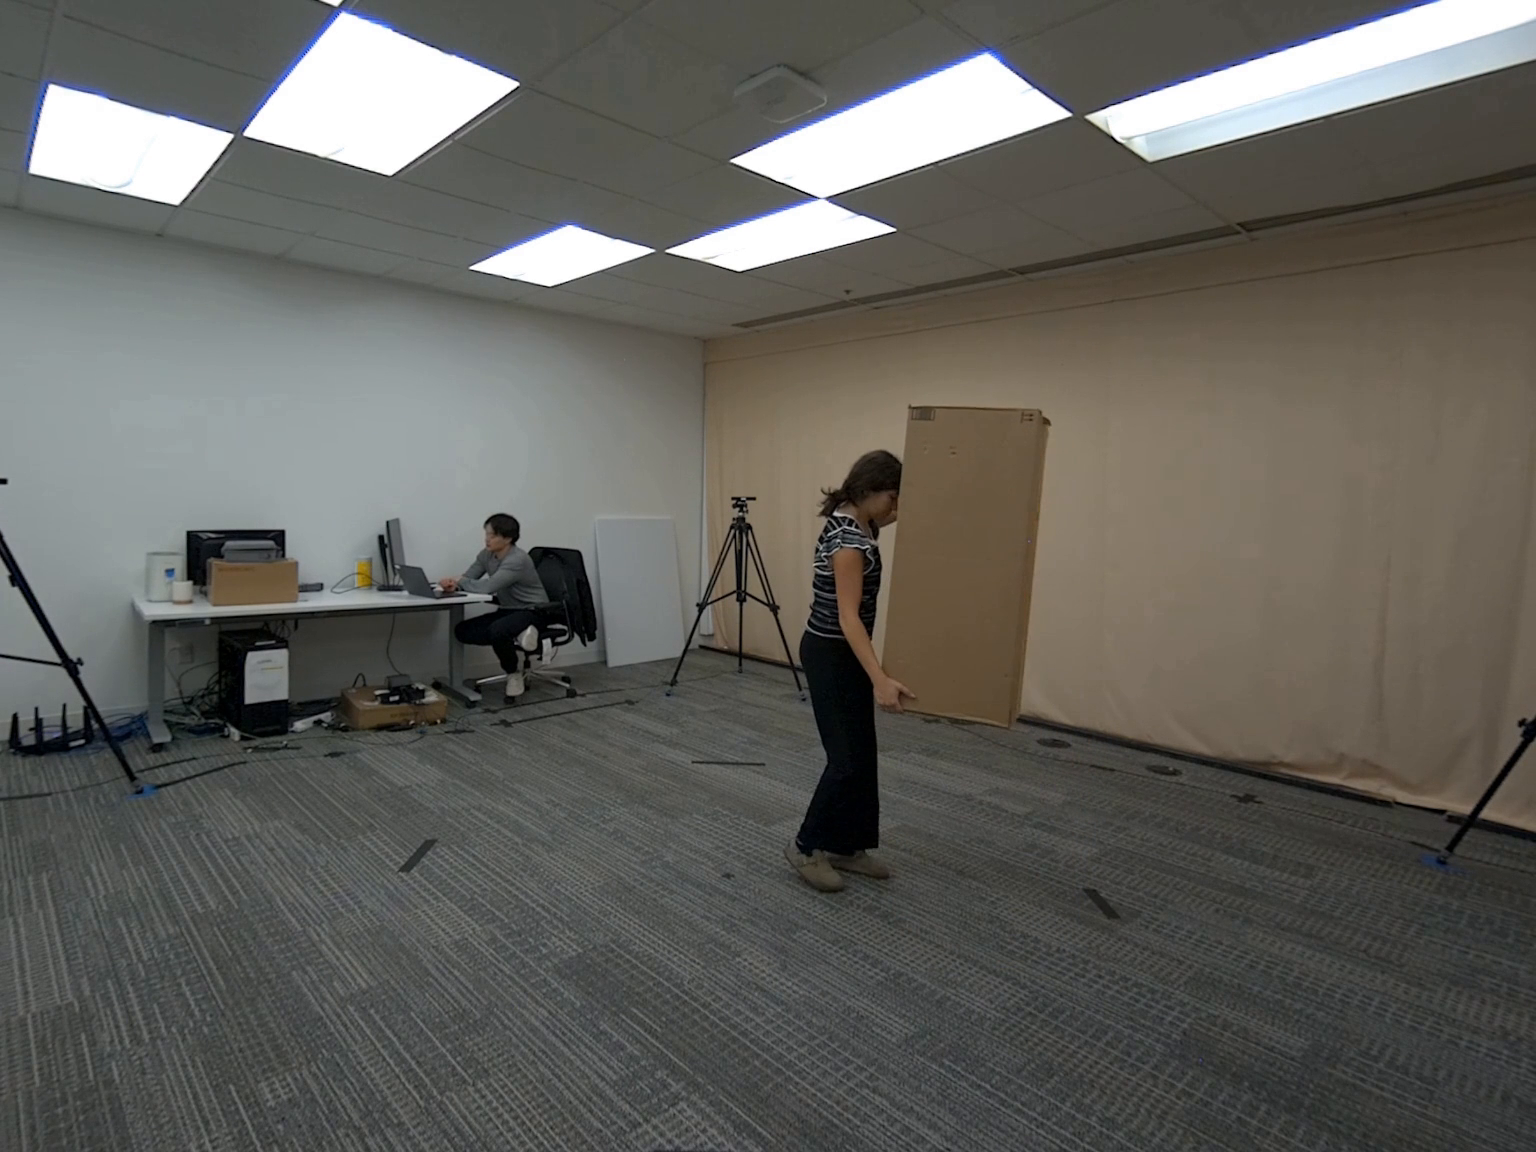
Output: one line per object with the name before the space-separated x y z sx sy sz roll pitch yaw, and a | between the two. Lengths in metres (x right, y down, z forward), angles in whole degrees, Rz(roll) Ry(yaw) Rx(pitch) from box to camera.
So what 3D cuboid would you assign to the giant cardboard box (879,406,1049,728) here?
giant cardboard box | 0.703 -0.031 2.985 0.434 1.027 0.567 6 -1 21
